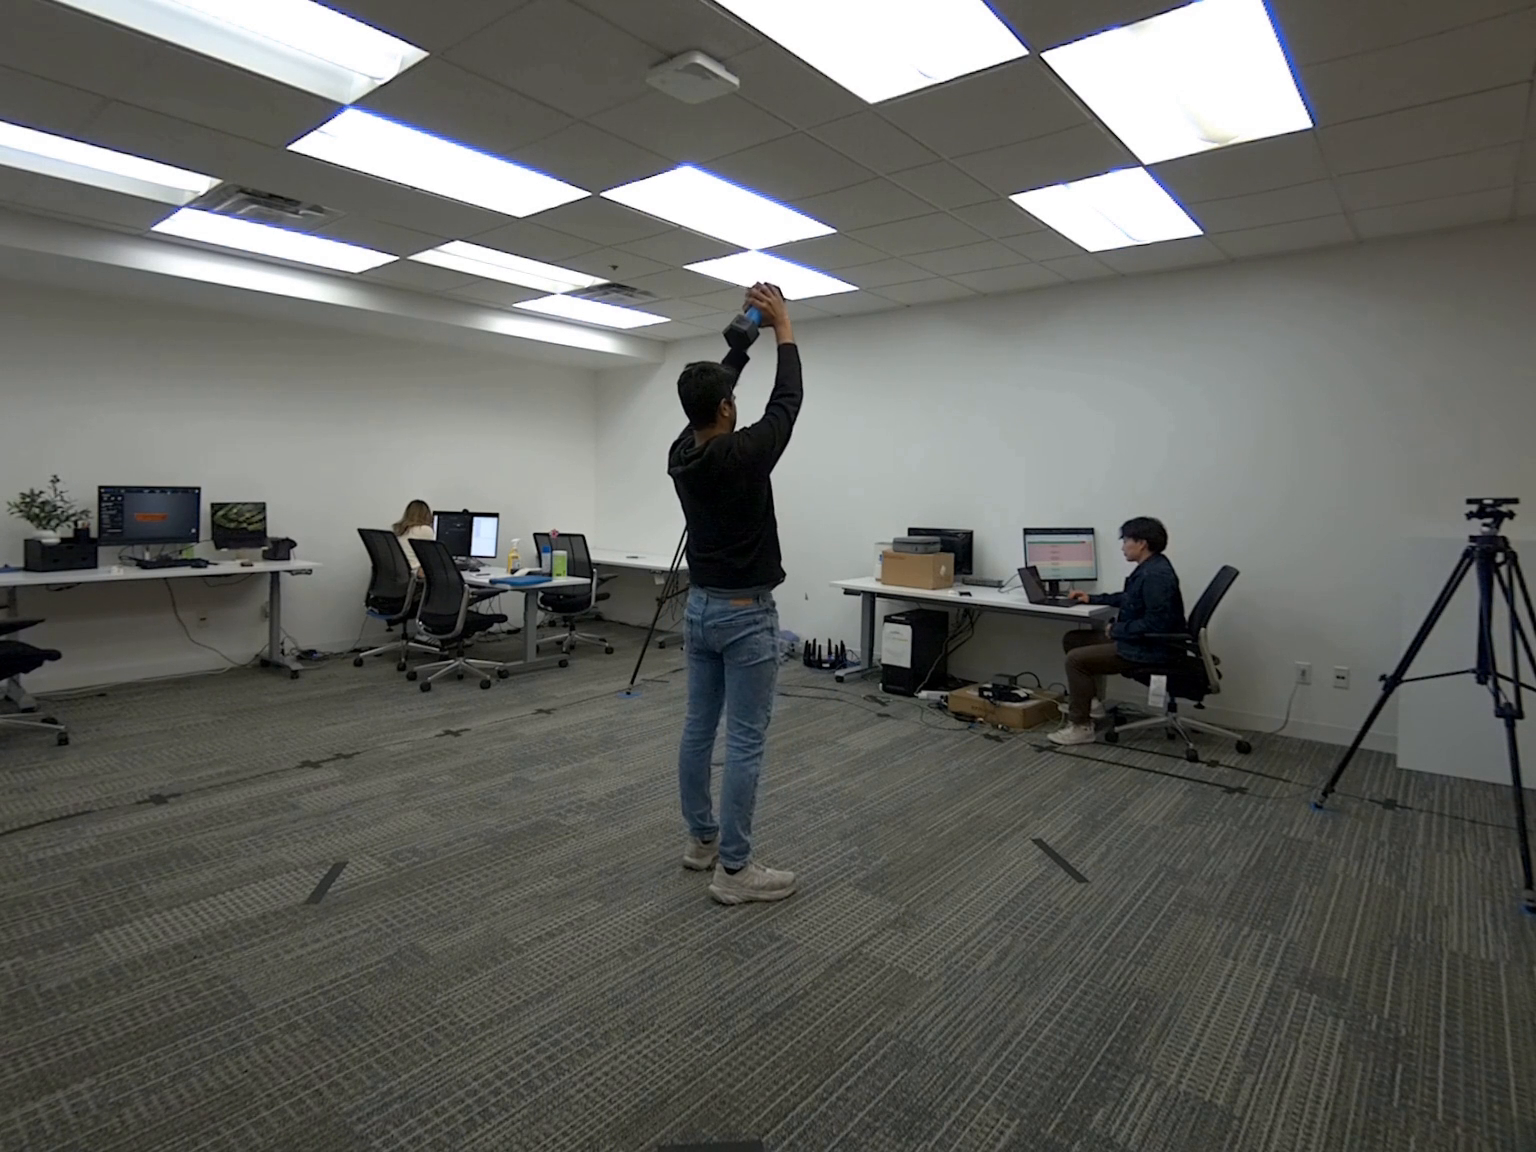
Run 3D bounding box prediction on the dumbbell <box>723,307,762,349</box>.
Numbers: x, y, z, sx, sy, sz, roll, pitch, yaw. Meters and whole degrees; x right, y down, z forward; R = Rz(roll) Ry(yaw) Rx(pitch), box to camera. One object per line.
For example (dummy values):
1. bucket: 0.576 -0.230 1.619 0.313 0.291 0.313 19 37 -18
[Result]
1. dumbbell: -0.059 -0.921 3.068 0.106 0.295 0.125 43 -35 -18
